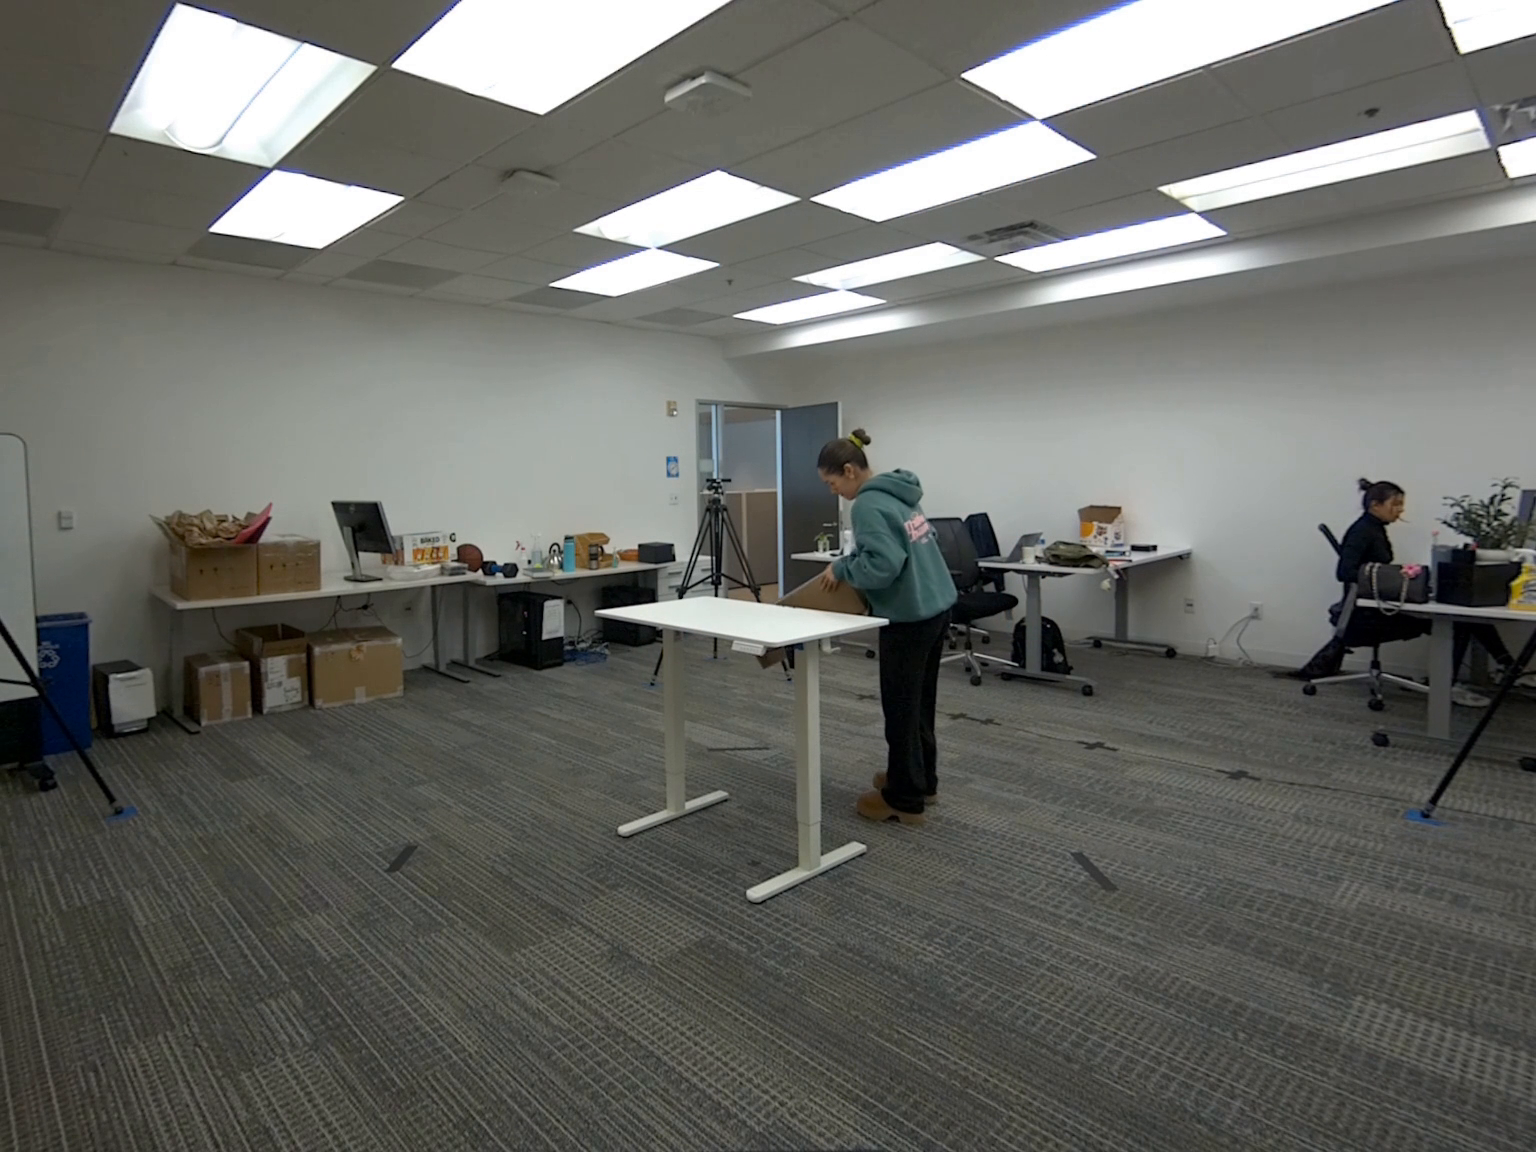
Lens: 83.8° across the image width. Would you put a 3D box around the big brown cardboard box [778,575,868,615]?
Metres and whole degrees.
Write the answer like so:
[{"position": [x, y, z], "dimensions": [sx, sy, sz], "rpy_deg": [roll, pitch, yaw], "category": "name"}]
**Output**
[{"position": [0.231, 0.145, 3.745], "dimensions": [0.593, 0.236, 0.409], "rpy_deg": [-33, -9, 30], "category": "big brown cardboard box"}]
